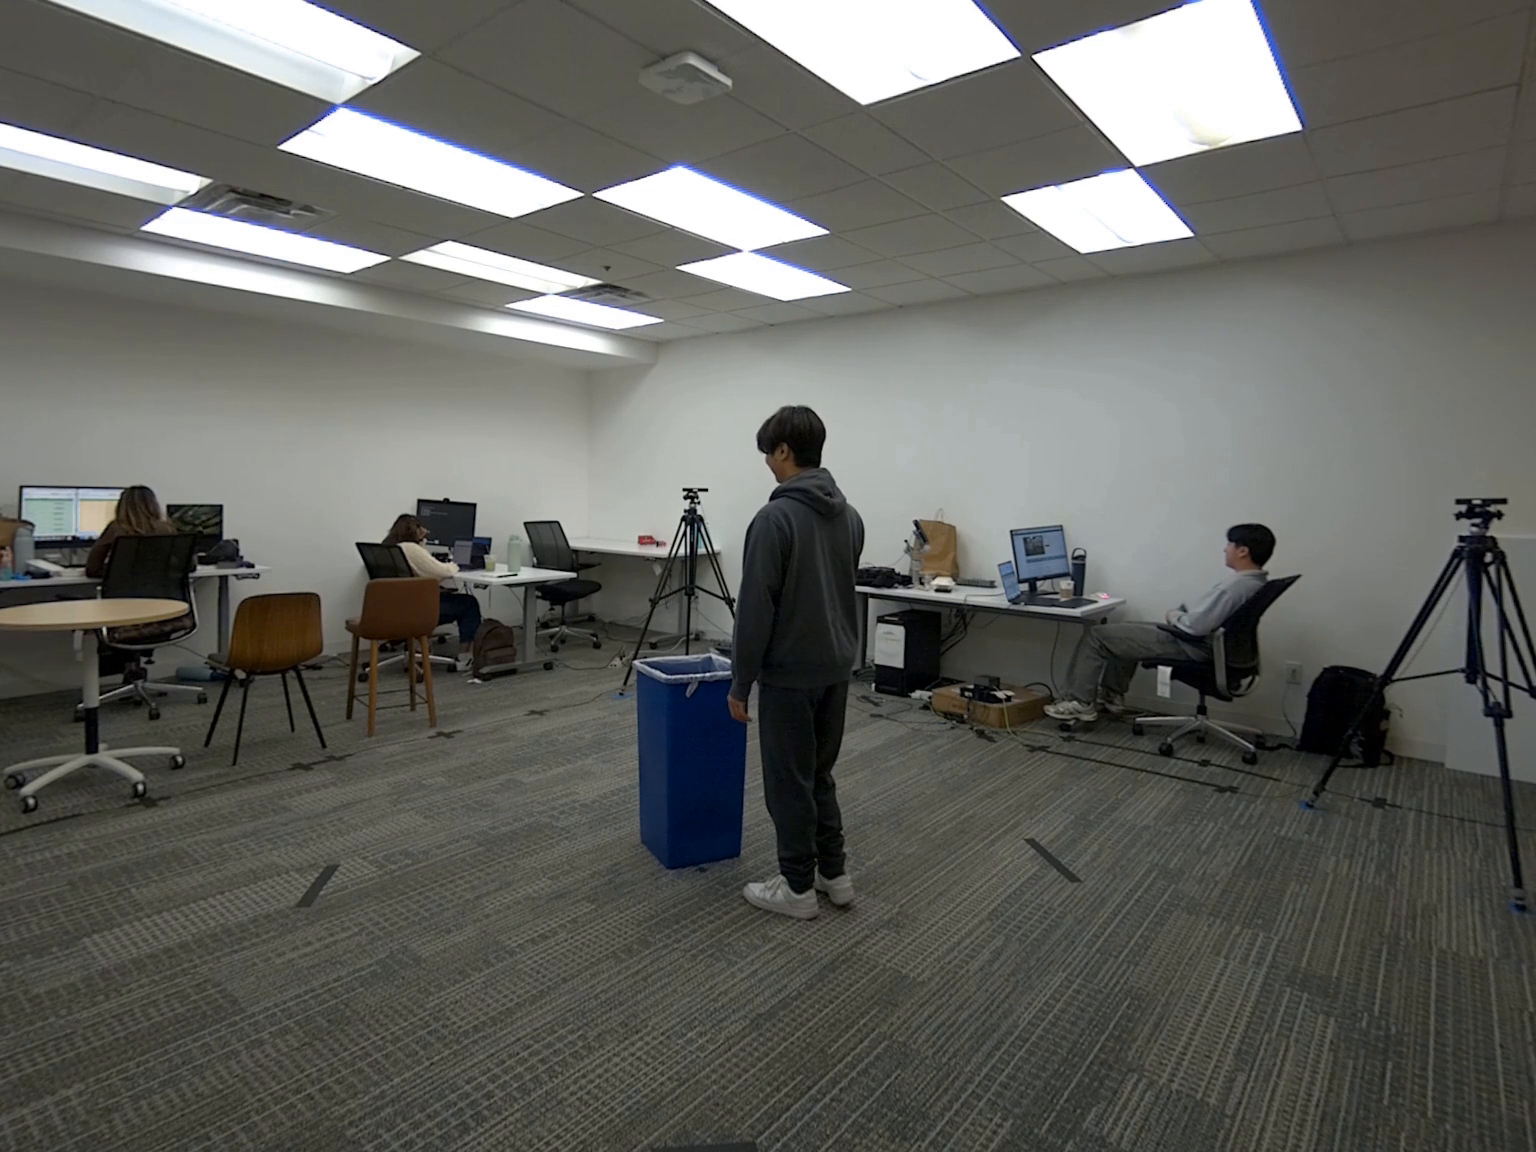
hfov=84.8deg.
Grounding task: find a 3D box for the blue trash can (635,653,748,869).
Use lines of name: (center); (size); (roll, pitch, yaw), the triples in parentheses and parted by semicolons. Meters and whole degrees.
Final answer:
blue trash can: (-0.315, 0.694, 3.281); (0.368, 0.712, 0.385); (0, 3, -28)
